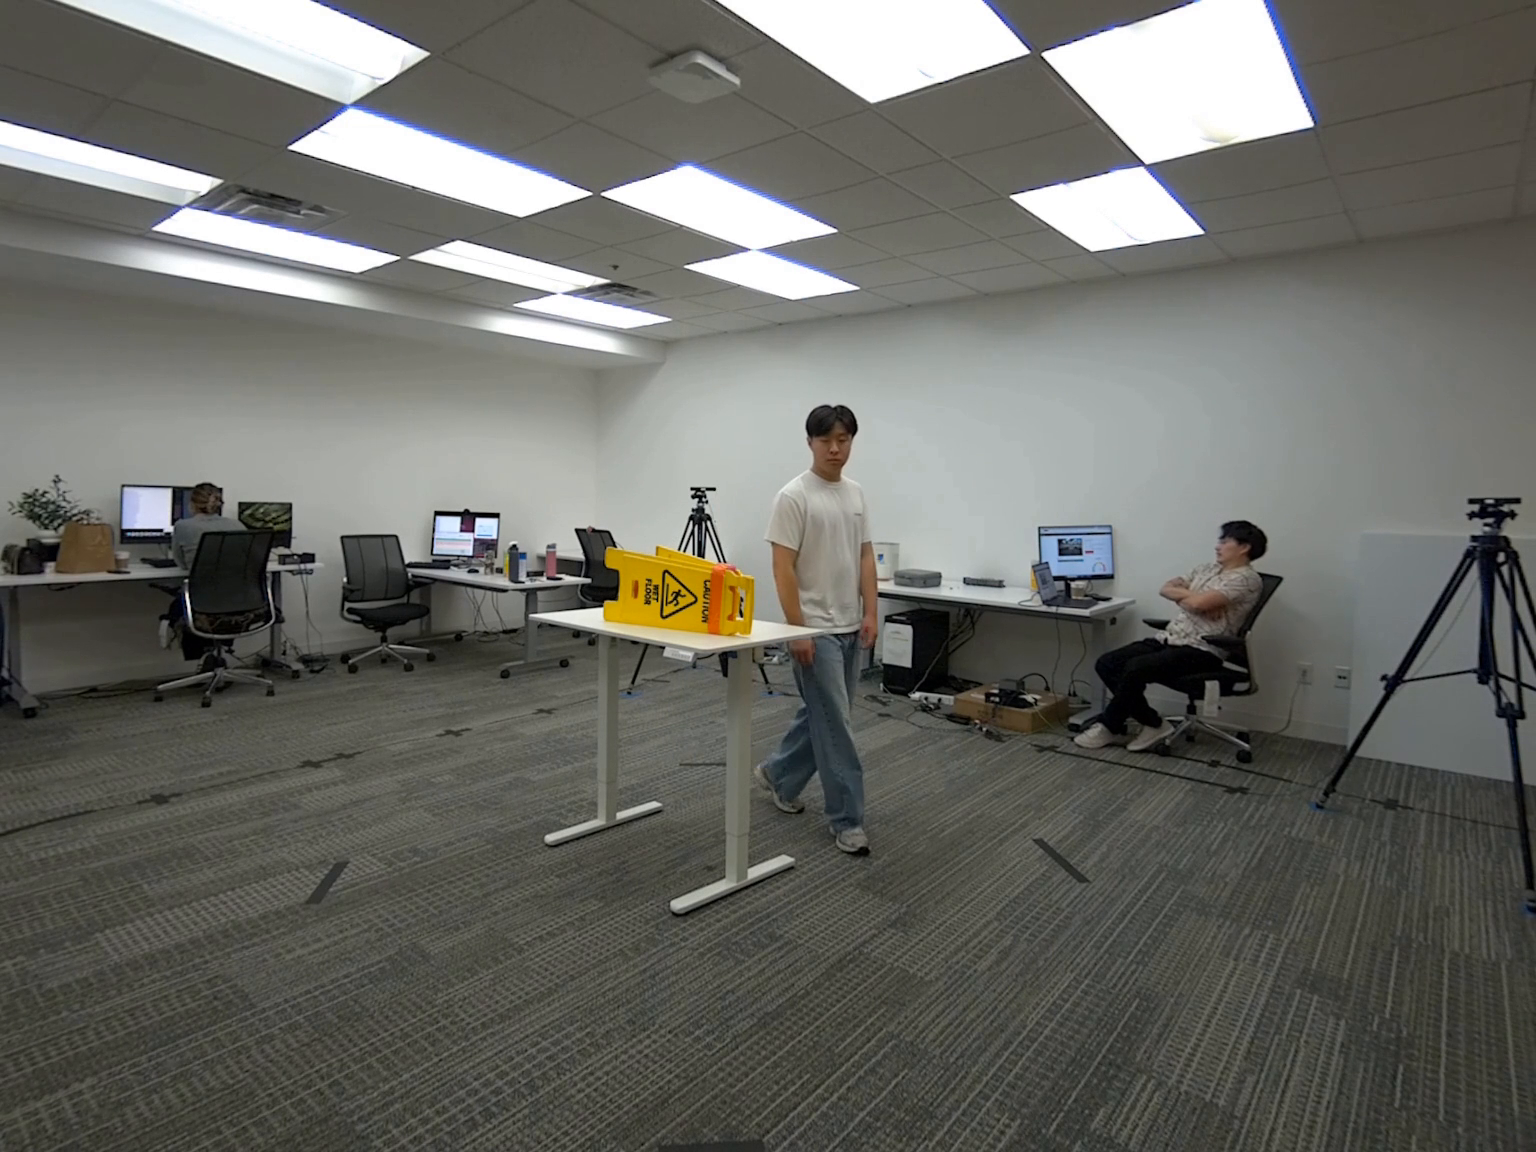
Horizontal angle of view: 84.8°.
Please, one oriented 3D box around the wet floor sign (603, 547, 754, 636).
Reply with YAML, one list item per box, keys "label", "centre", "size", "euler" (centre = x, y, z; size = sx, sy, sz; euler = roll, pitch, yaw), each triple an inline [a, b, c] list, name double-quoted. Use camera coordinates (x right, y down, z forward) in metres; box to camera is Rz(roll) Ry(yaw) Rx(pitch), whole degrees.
- label: "wet floor sign"
  centre: [-0.300, 0.059, 3.077]
  size: [0.669, 0.281, 0.281]
  euler: [9, 8, 43]
